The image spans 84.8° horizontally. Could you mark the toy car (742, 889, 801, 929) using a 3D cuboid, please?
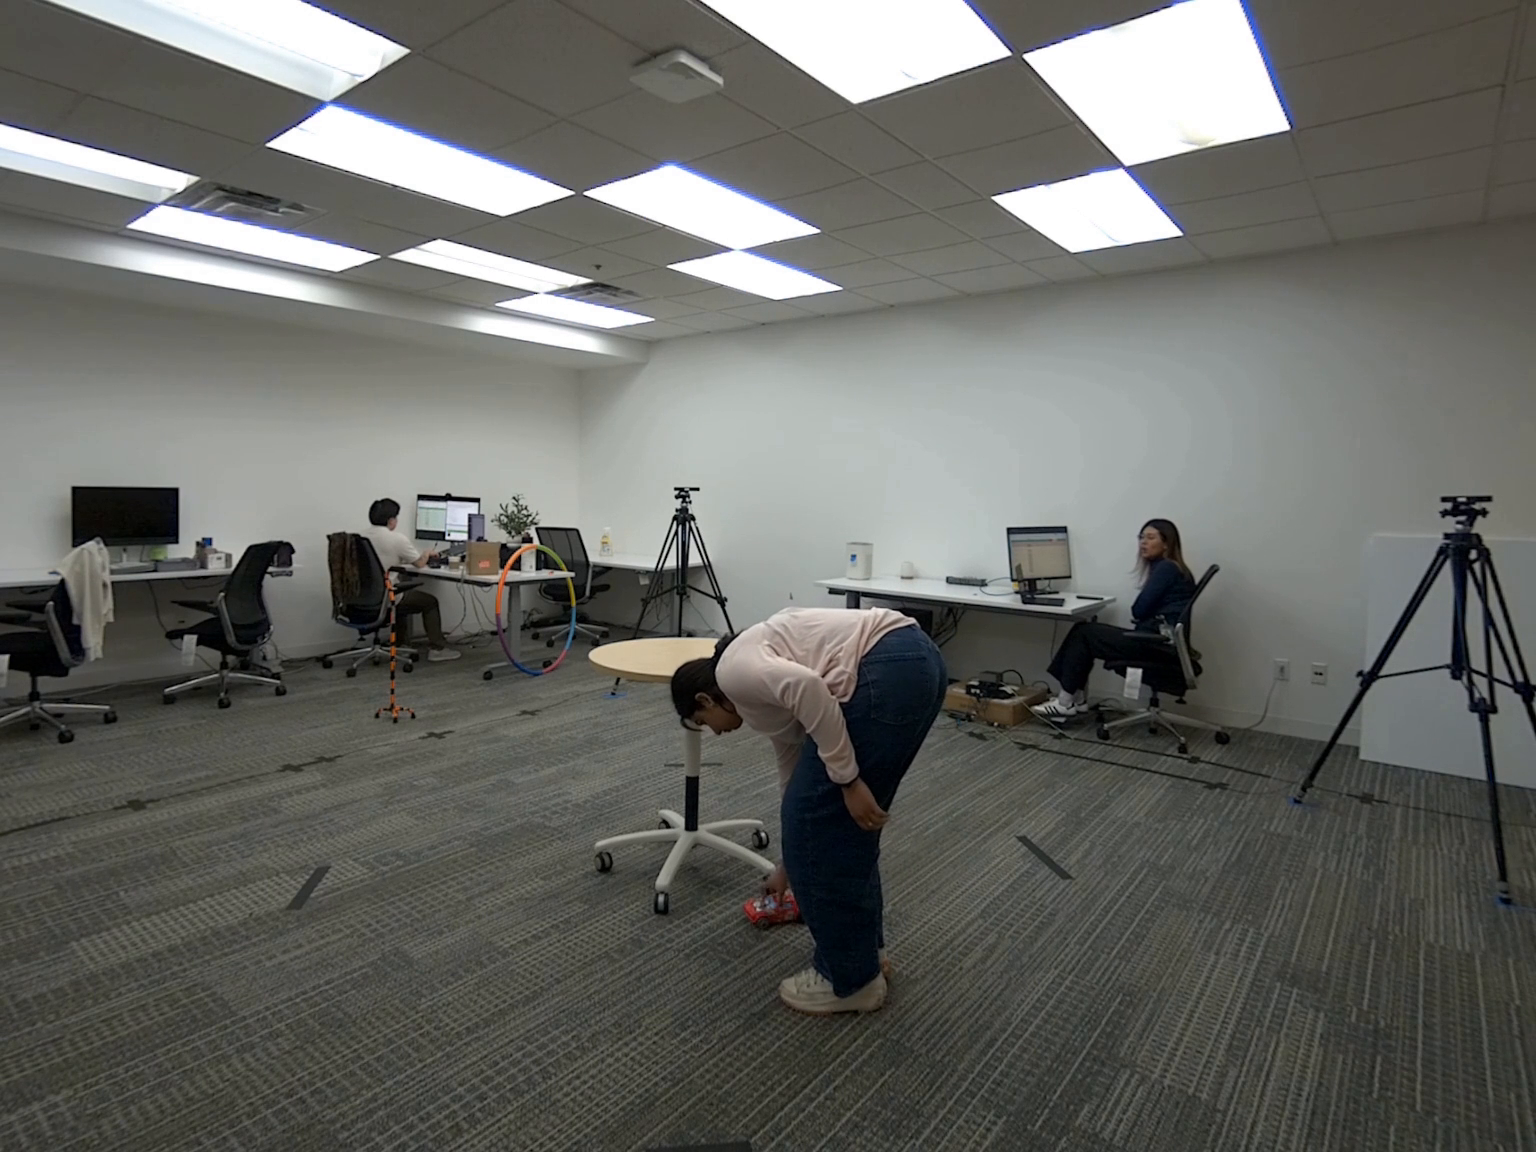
[{"bbox_3d":[0.047,1.078,2.758,0.251,0.082,0.133,-13,10,-18],"label":"toy car"}]
